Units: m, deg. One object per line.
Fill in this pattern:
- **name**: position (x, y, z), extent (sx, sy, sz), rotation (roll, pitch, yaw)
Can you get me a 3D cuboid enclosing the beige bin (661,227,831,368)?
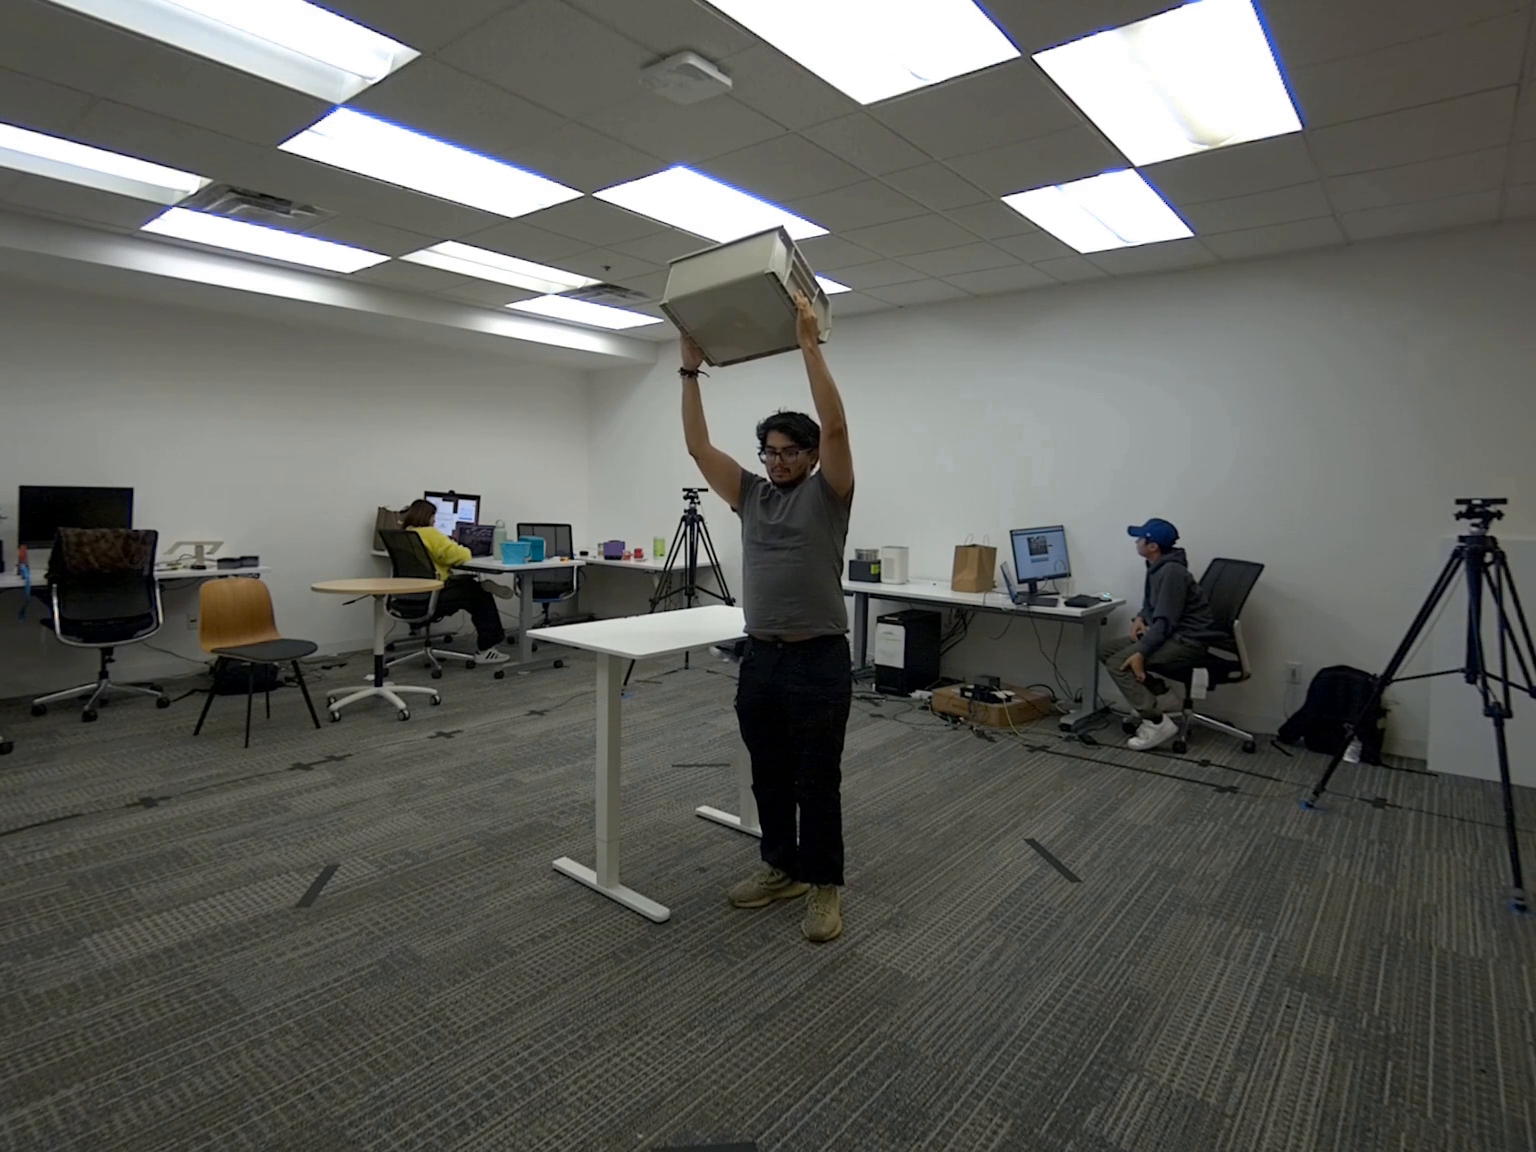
- **beige bin**: position (-0.077, -0.856, 2.695), extent (0.433, 0.192, 0.361), rotation (-4, -29, 31)
